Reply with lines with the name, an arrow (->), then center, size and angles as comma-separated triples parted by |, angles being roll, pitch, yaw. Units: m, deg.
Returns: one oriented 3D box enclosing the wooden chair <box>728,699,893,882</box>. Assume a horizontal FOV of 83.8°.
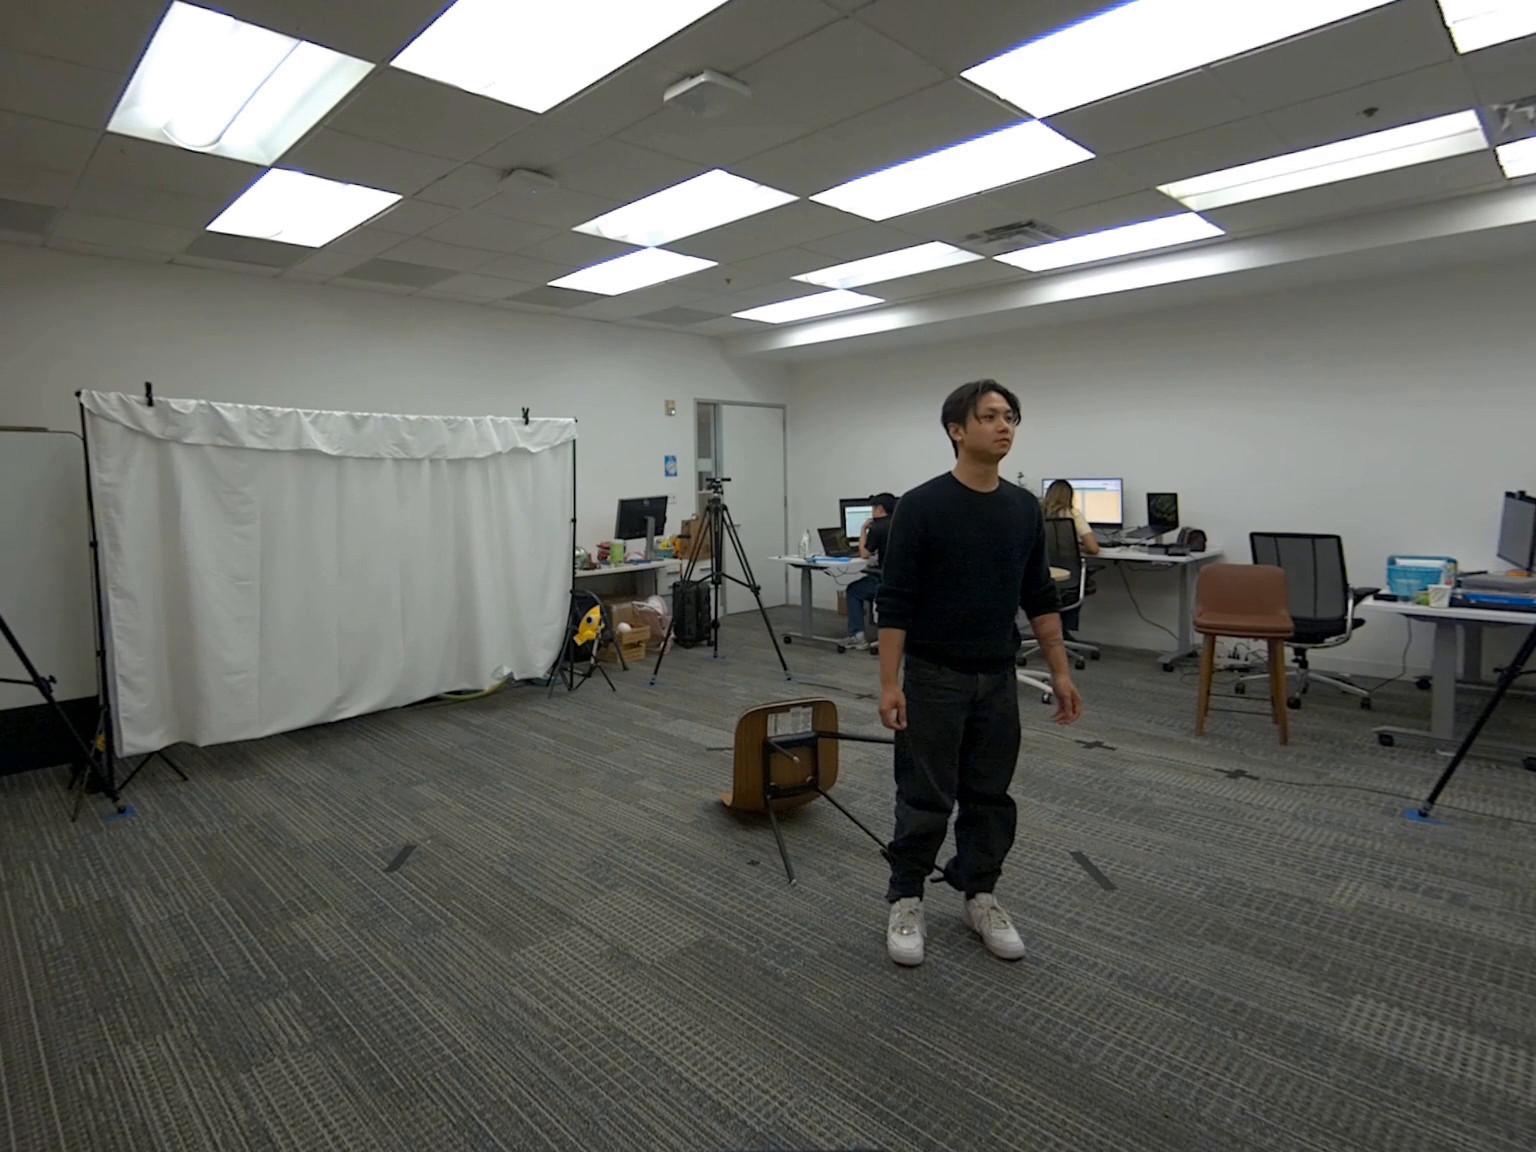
wooden chair -> 0.098, 0.749, 3.375 | 0.468, 0.521, 0.899 | -3, 5, -25
